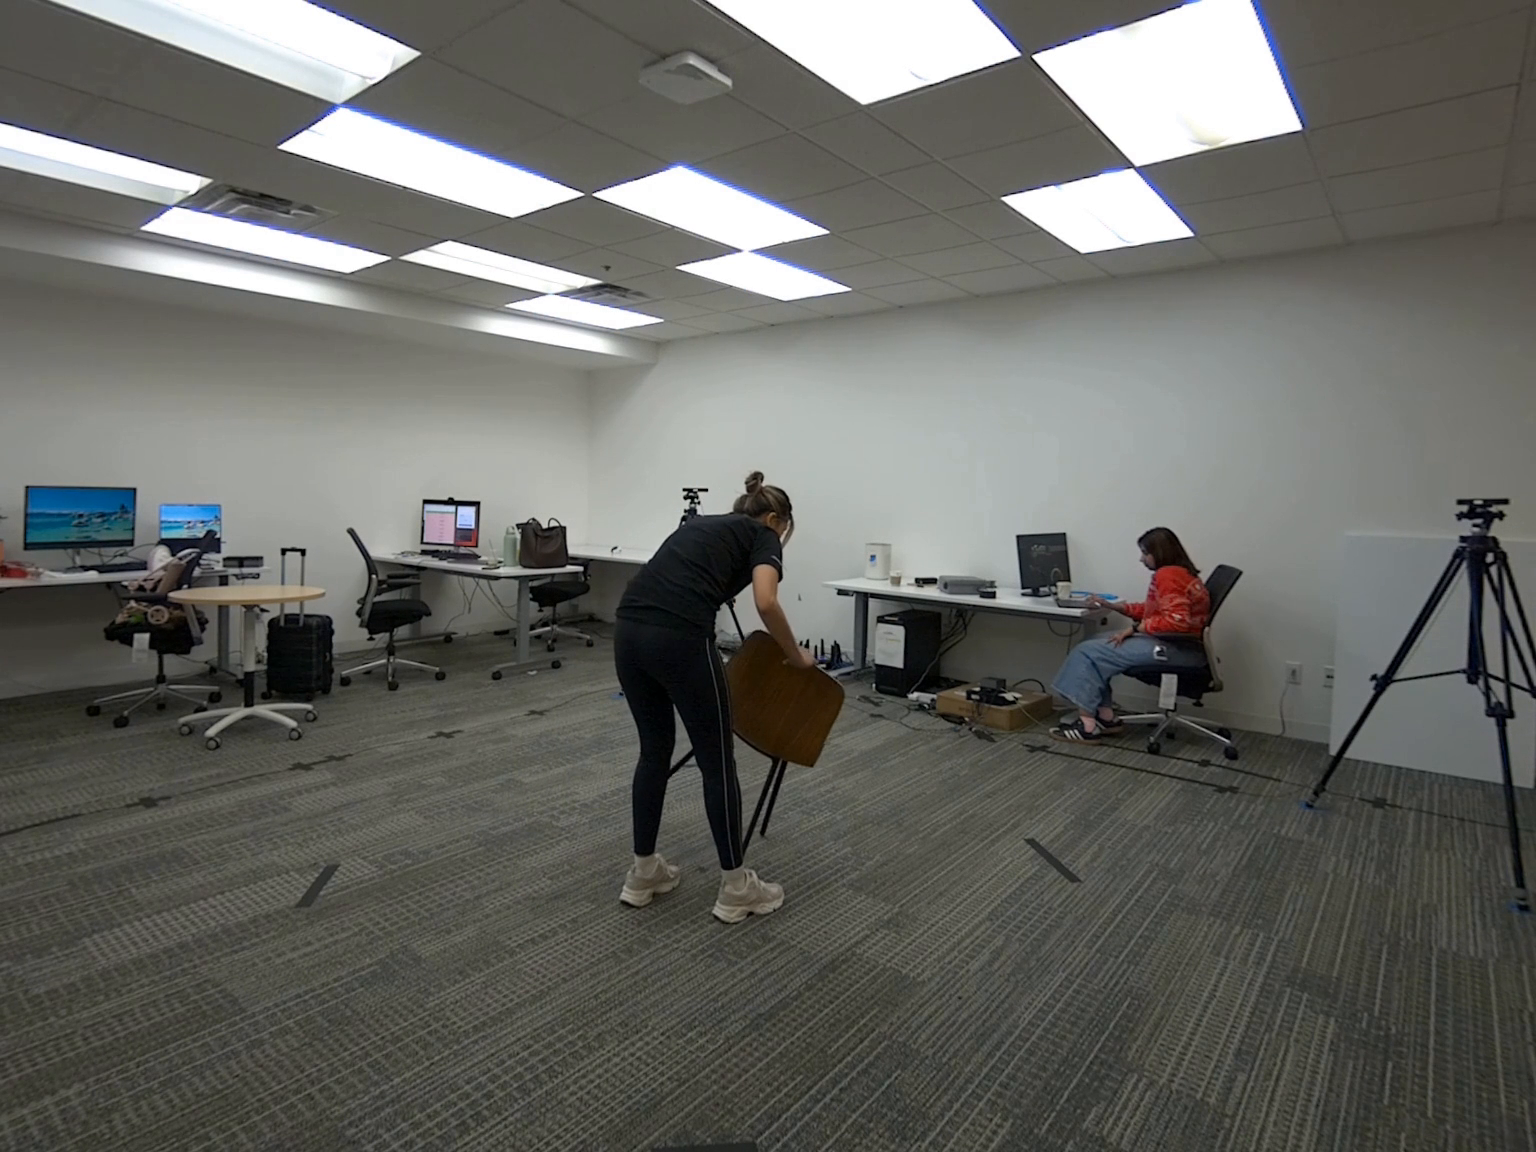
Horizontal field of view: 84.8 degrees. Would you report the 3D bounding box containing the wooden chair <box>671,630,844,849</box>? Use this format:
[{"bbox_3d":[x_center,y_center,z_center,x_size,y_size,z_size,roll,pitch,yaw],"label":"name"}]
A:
[{"bbox_3d":[-0.049,0.582,3.194,0.486,0.873,0.517,32,16,10],"label":"wooden chair"}]
